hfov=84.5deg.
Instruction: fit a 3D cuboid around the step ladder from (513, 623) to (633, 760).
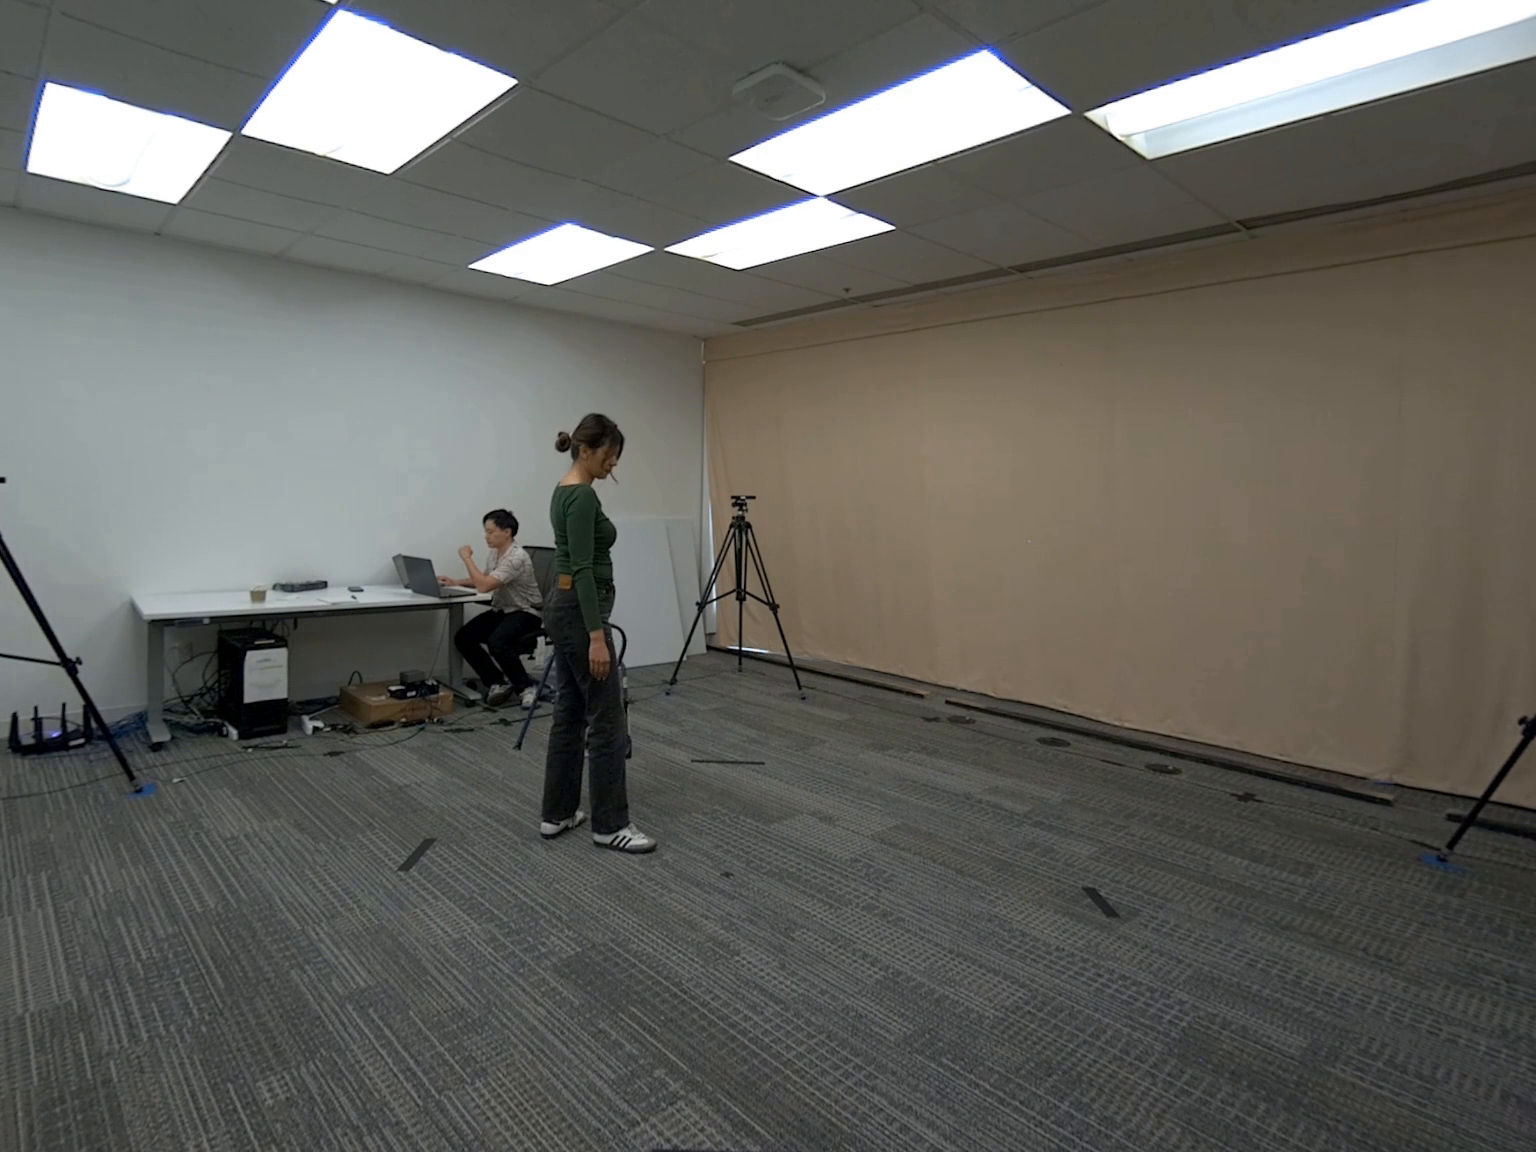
[{"bbox_3d":[-0.868,0.519,3.860,0.357,0.609,0.418,0,-9,39],"label":"step ladder"}]
